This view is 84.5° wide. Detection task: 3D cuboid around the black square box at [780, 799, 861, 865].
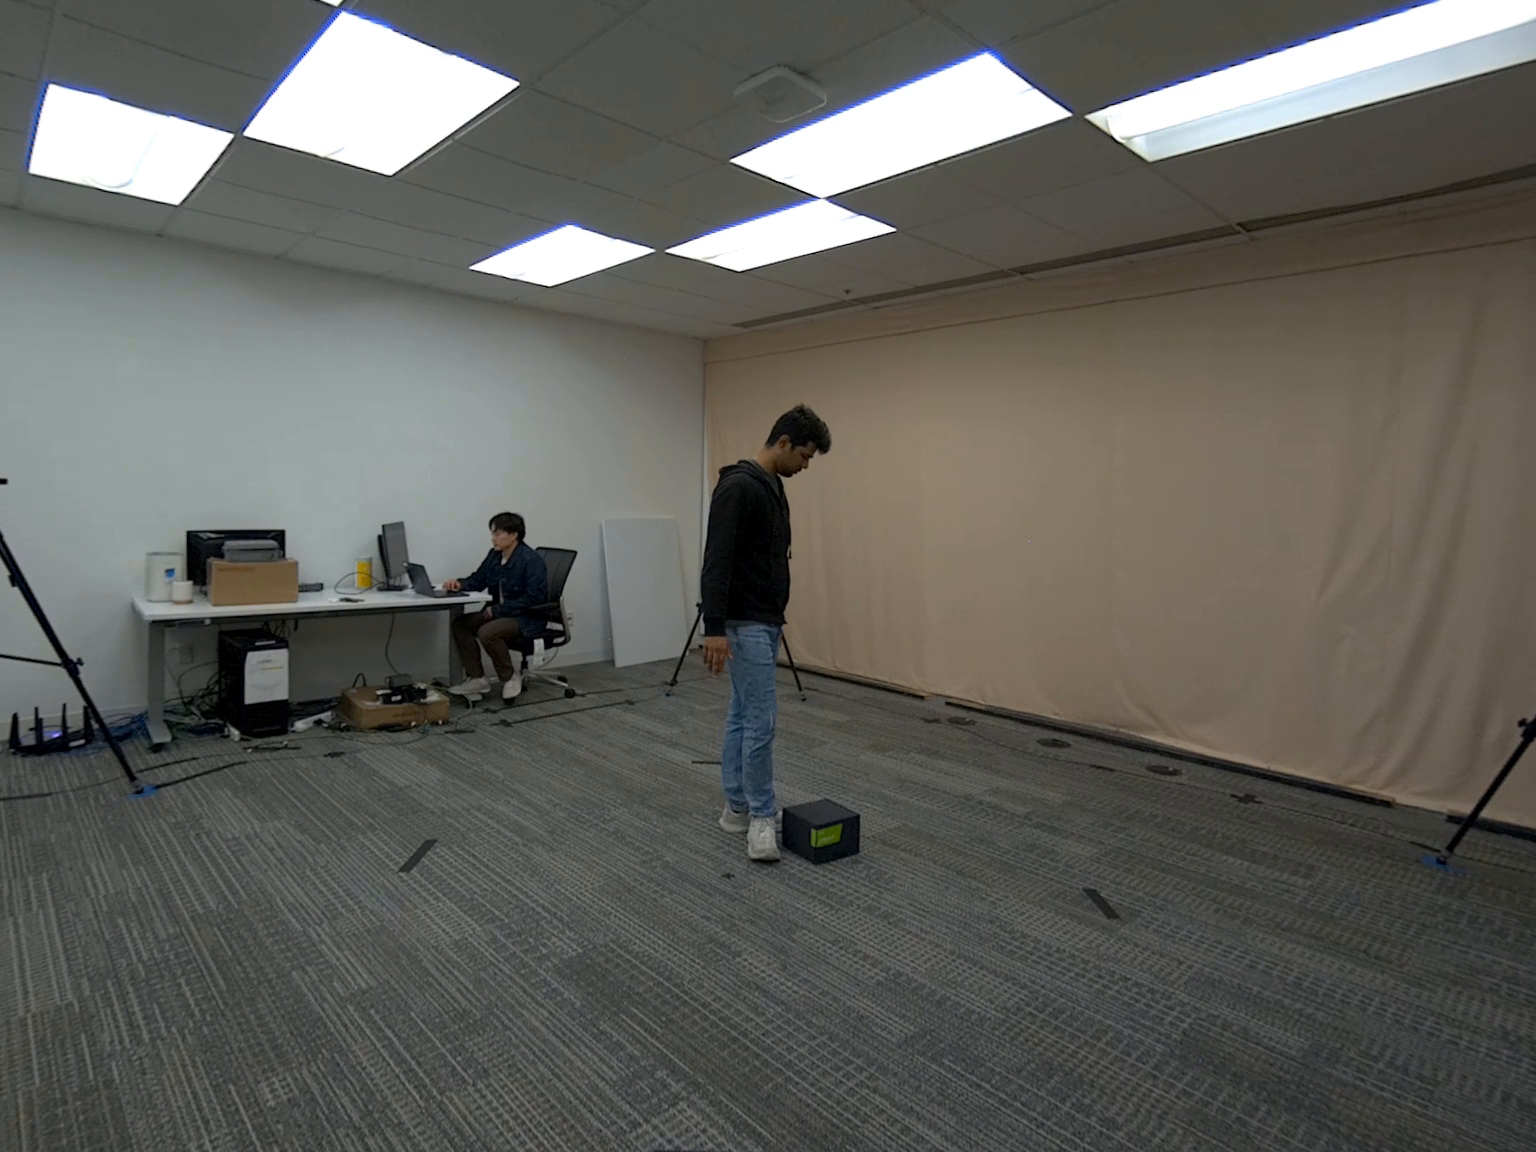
[{"bbox_3d":[0.202,1.013,3.352,0.223,0.155,0.222,-1,5,-34],"label":"black square box"}]
